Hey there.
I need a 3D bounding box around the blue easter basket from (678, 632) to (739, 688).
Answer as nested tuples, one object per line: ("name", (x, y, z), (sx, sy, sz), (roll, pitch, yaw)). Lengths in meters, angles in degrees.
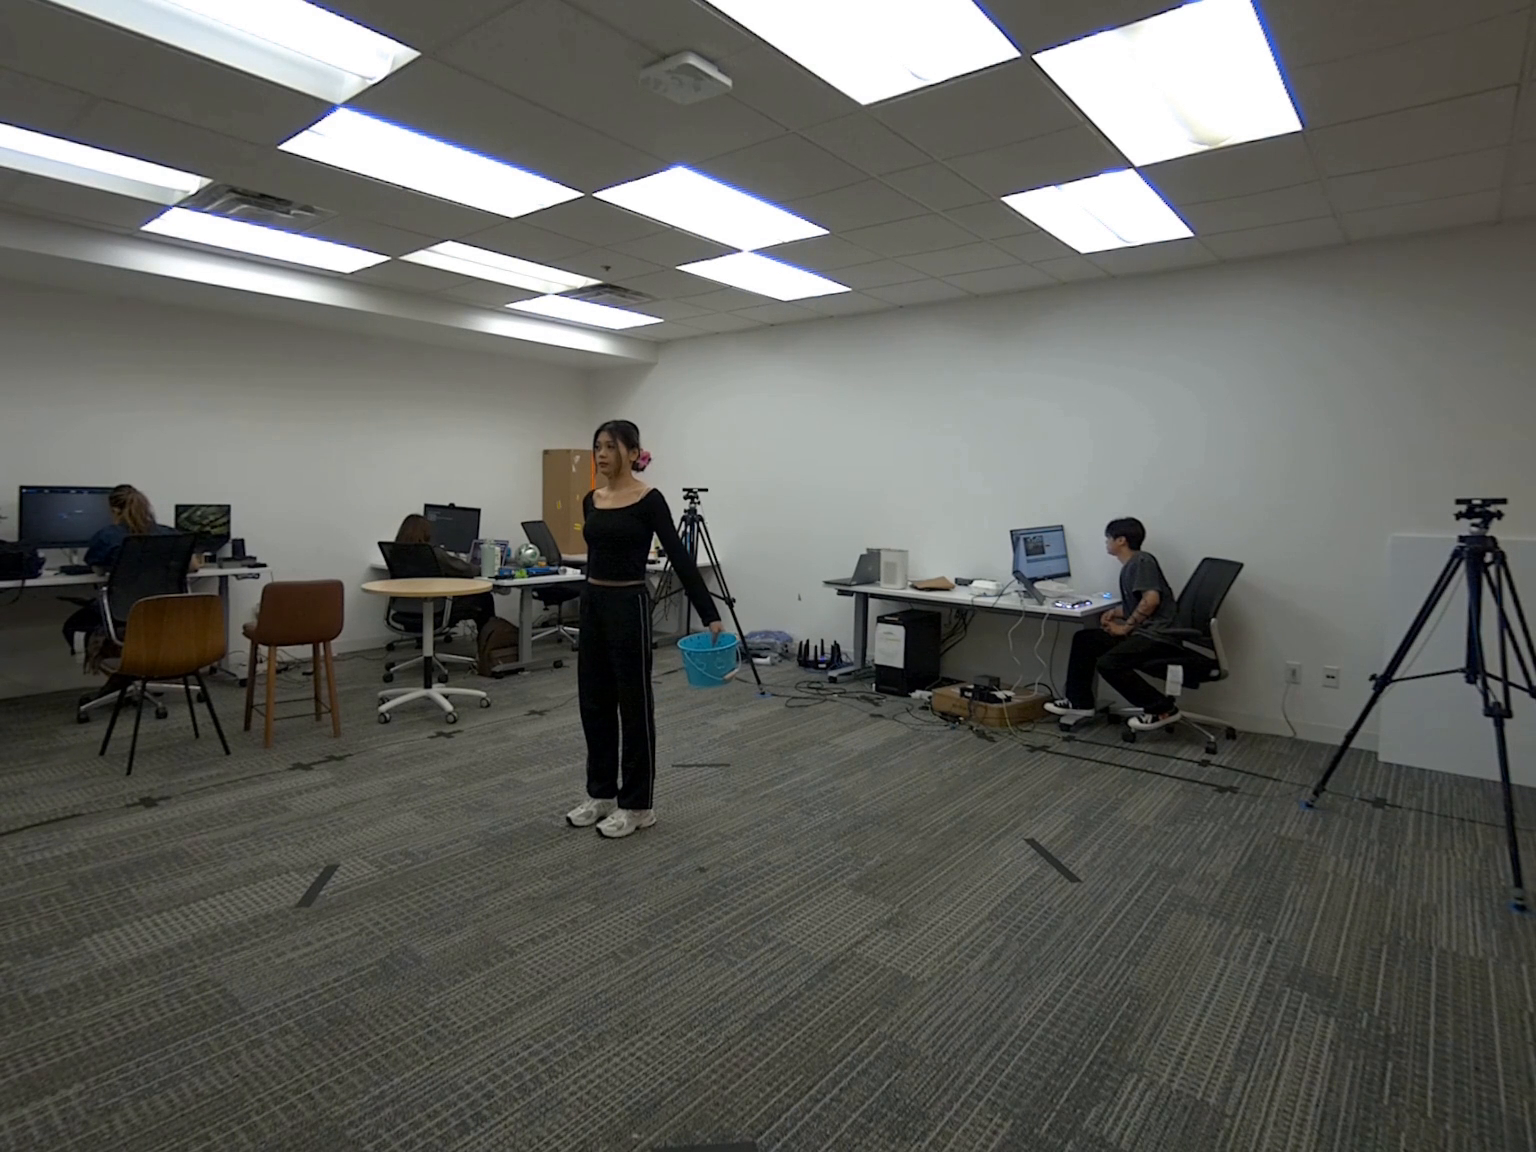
("blue easter basket", (-0.236, 0.324, 3.233), (0.243, 0.154, 0.246), (-5, 12, -1))
